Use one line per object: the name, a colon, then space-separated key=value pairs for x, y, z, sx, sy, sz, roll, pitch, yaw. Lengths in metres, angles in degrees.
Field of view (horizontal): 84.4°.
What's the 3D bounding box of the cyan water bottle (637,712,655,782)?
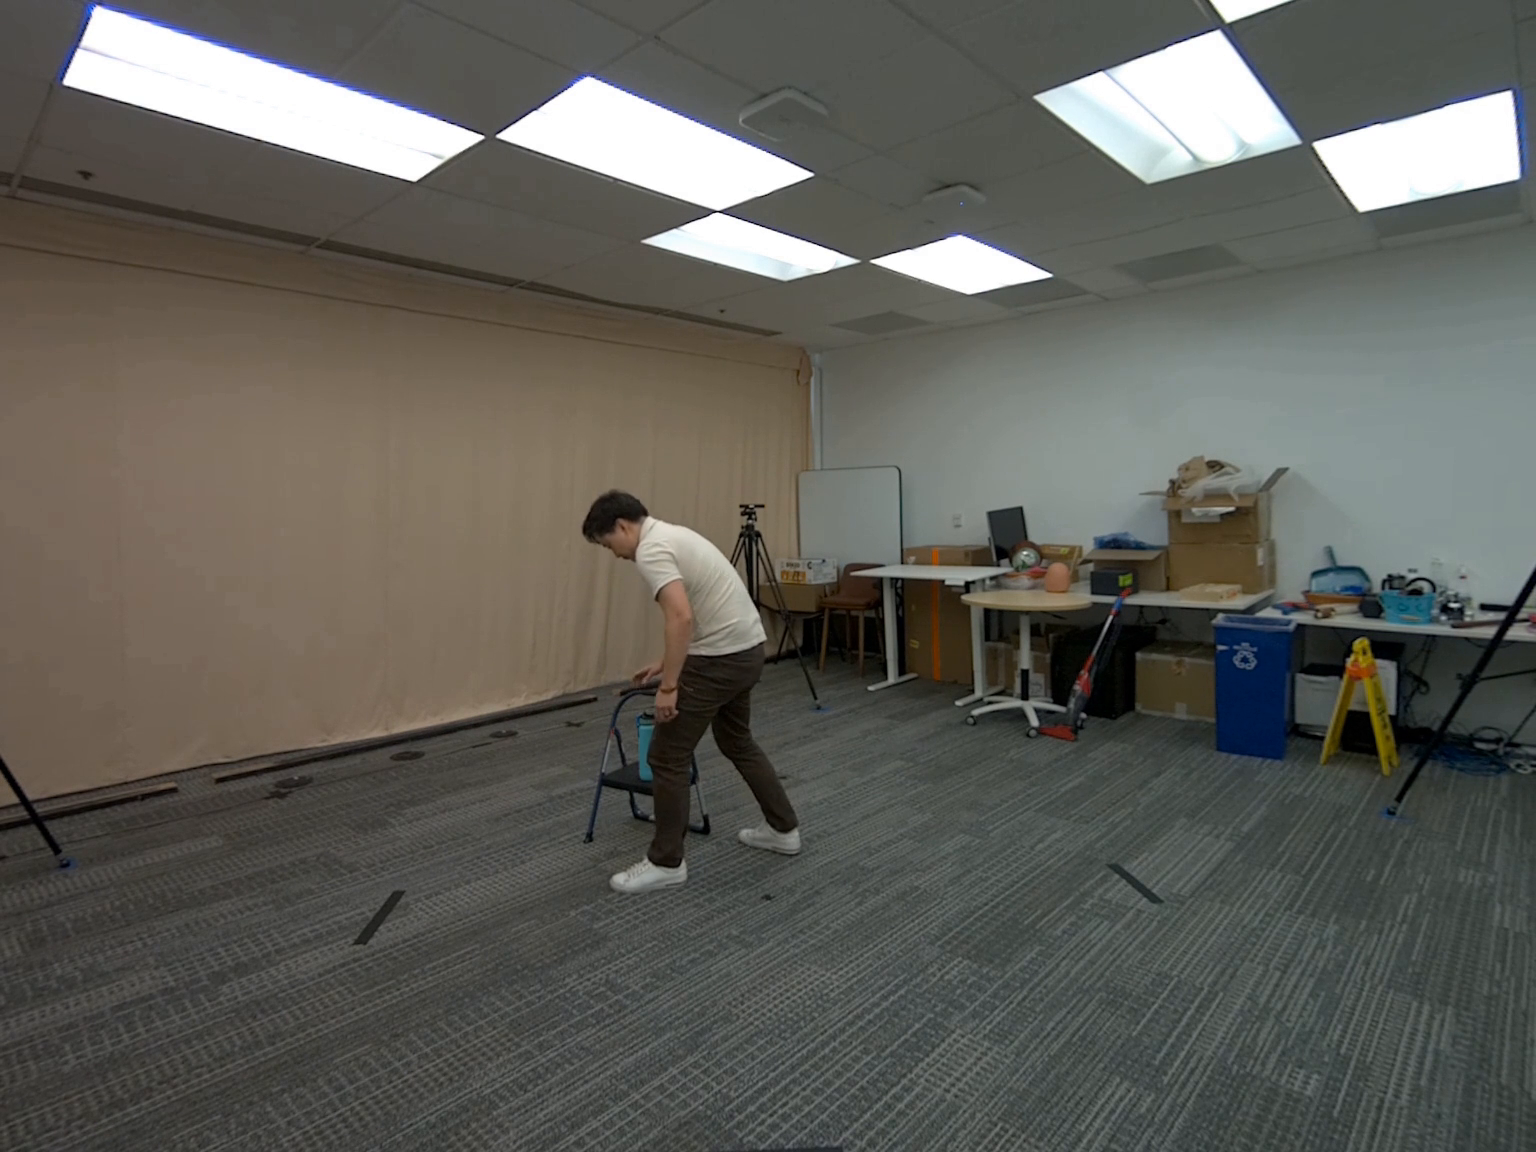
cyan water bottle: x=-0.501 y=0.705 z=3.522 sx=0.092 sy=0.283 sz=0.092 roll=-6 pitch=2 yaw=-2
